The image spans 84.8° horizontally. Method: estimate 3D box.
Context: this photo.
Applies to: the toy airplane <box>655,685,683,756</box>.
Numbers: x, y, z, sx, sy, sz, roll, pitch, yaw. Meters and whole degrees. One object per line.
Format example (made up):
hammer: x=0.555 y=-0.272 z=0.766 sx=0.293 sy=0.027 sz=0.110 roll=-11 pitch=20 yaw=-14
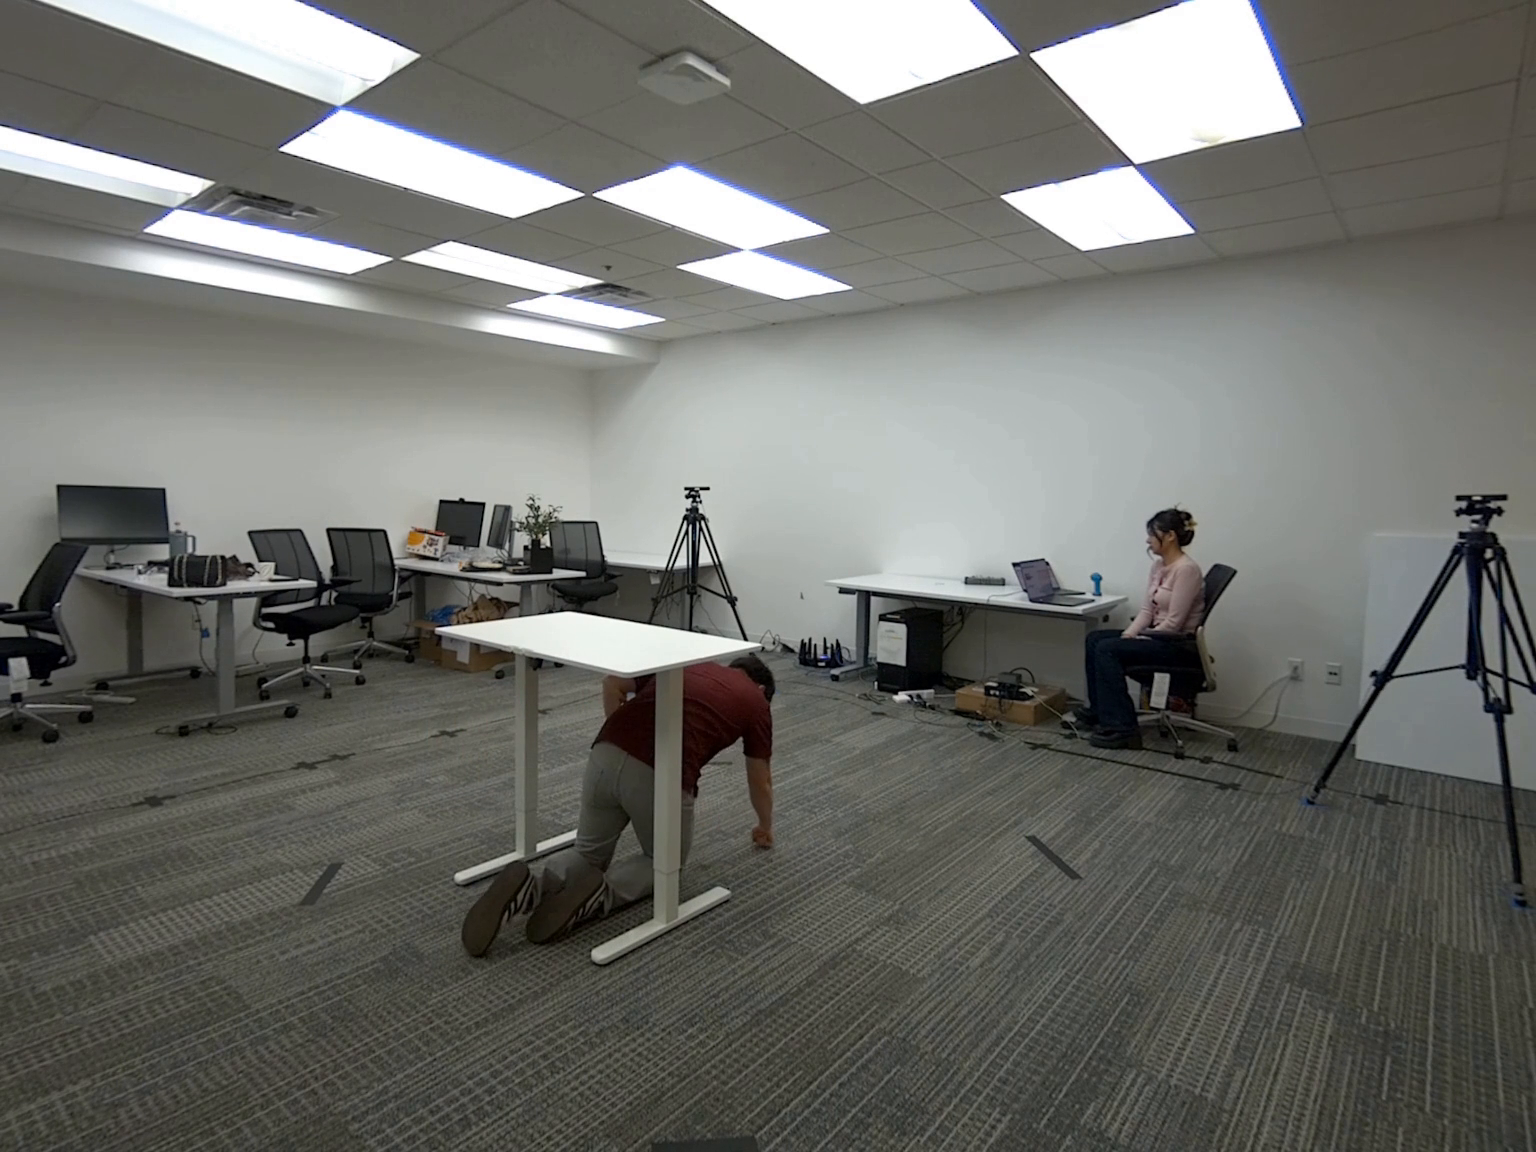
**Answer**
toy airplane: x=-0.445 y=0.549 z=3.207 sx=0.251 sy=0.254 sz=0.160 roll=5 pitch=-13 yaw=-35
